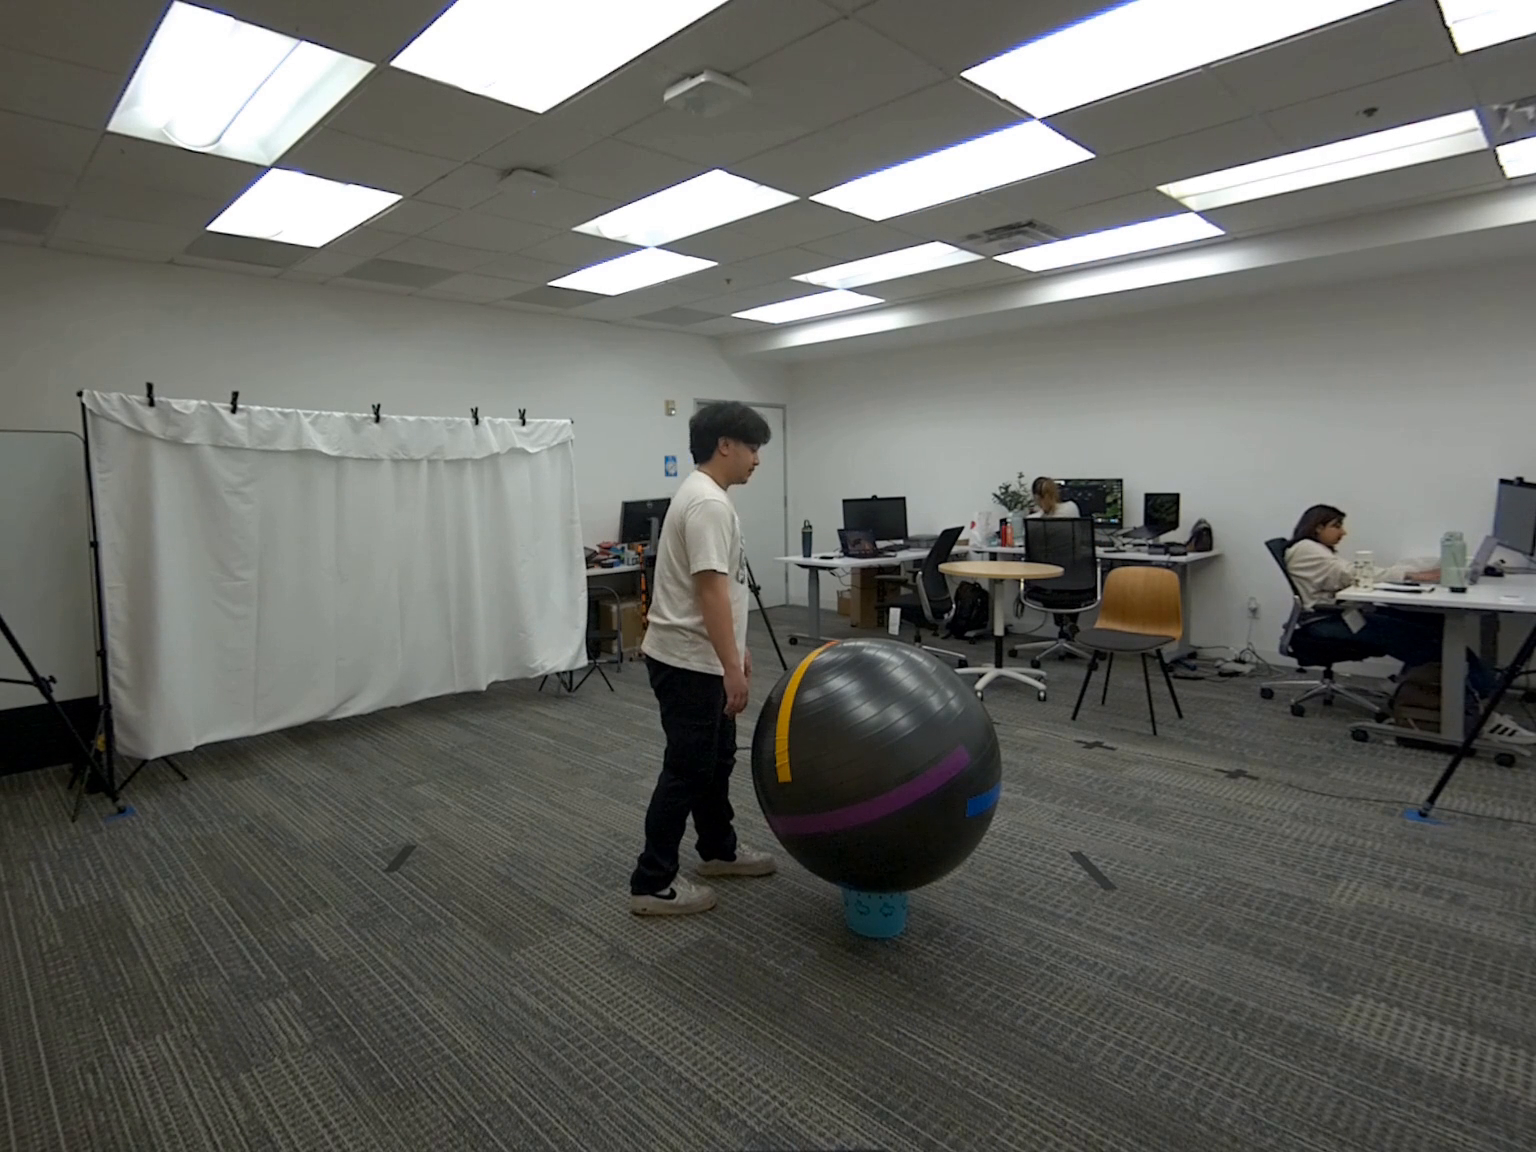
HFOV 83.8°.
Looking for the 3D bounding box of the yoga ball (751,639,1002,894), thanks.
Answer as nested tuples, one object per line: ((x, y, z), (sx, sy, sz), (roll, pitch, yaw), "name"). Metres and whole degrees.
((0.329, 0.573, 2.641), (0.757, 0.755, 0.762), (-1, 5, -2), "yoga ball")
